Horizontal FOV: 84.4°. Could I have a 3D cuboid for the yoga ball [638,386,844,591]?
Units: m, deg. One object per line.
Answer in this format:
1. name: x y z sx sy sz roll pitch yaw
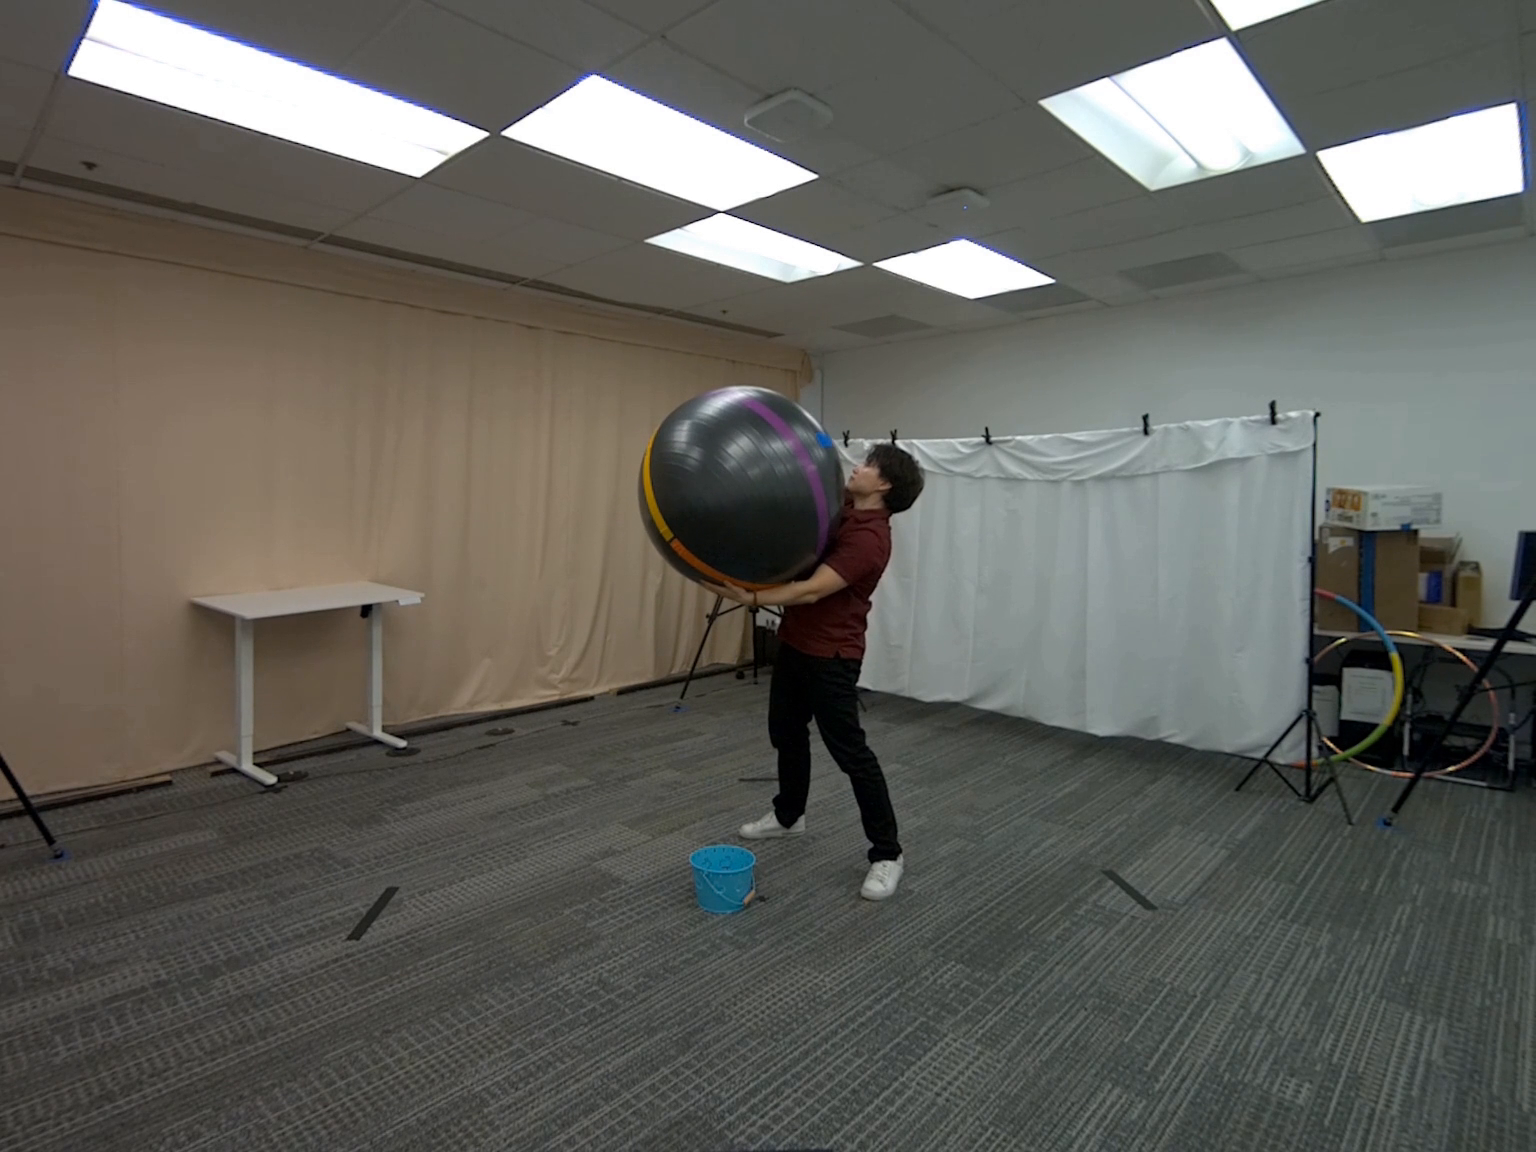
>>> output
1. yoga ball: -0.098 -0.313 3.097 0.757 0.756 0.760 0 4 -2
